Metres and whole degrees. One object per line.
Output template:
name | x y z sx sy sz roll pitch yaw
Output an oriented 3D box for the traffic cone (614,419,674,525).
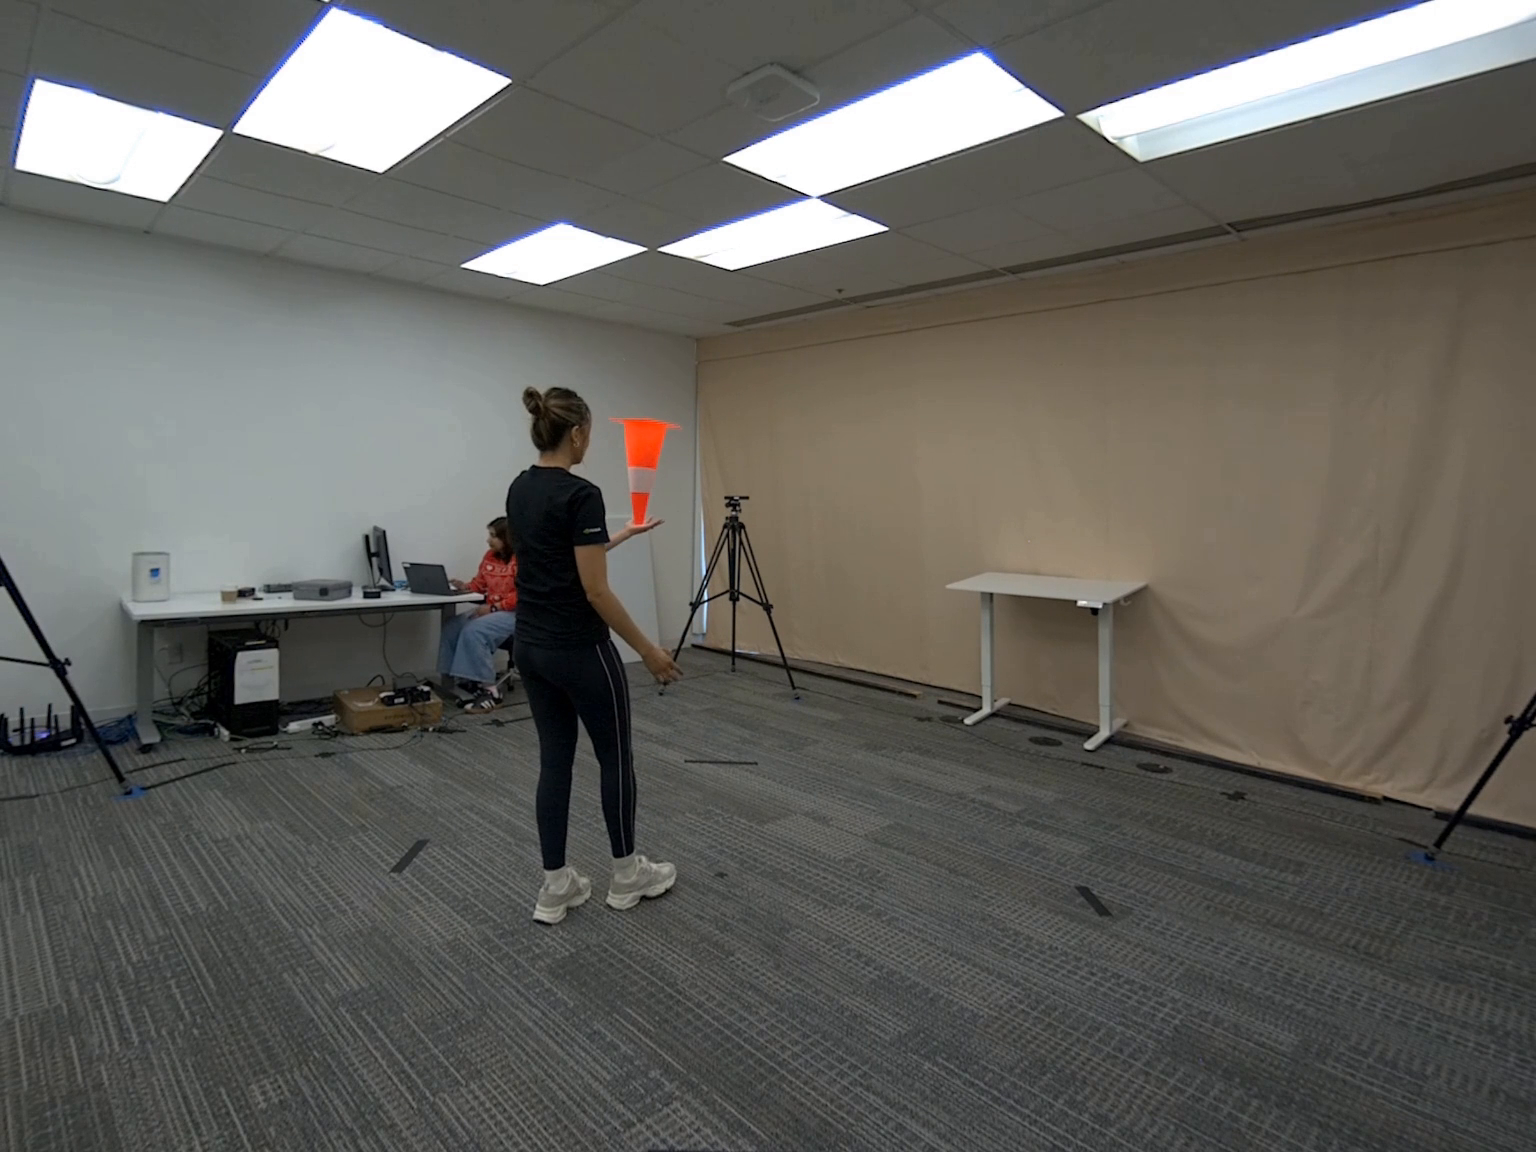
traffic cone | -0.472 -0.375 3.092 0.200 0.383 0.209 2 4 -41
